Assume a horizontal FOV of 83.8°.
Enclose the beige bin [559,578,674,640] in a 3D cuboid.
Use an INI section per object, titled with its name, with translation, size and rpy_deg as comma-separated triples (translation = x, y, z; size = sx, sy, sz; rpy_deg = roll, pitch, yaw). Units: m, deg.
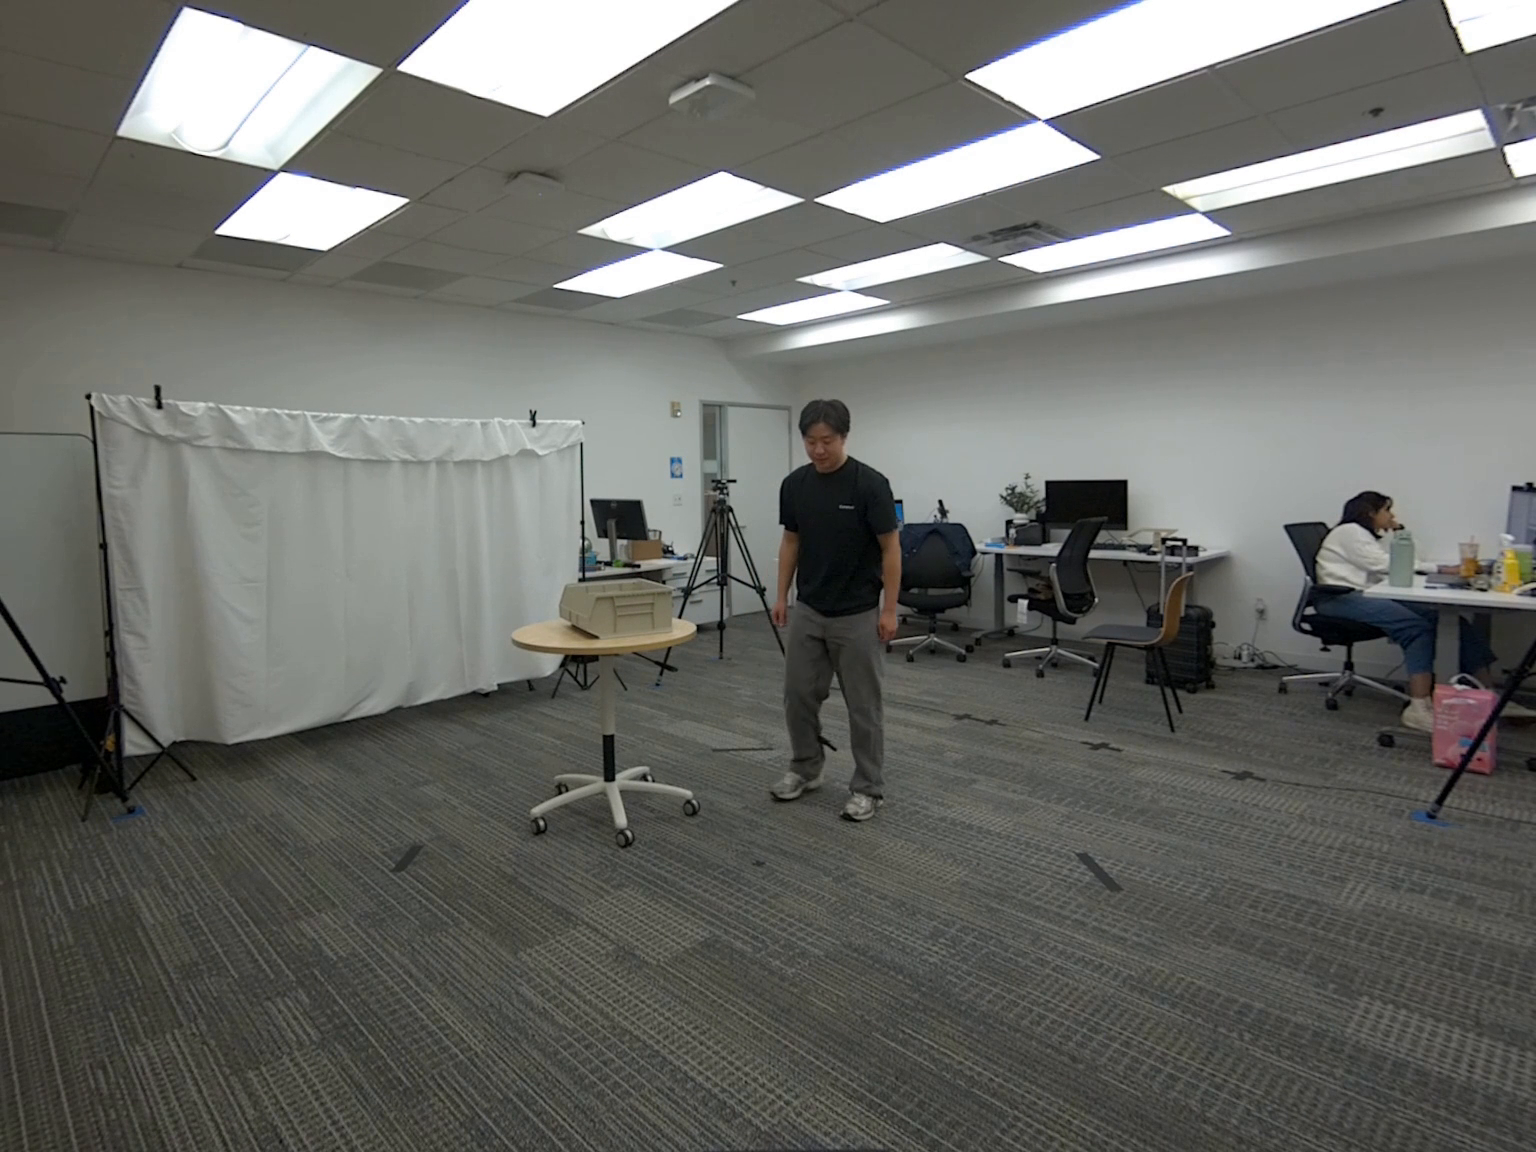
[beige bin]
translation = -0.641, 0.134, 3.591
size = 0.369, 0.188, 0.433
rpy_deg = -3, 6, -28
